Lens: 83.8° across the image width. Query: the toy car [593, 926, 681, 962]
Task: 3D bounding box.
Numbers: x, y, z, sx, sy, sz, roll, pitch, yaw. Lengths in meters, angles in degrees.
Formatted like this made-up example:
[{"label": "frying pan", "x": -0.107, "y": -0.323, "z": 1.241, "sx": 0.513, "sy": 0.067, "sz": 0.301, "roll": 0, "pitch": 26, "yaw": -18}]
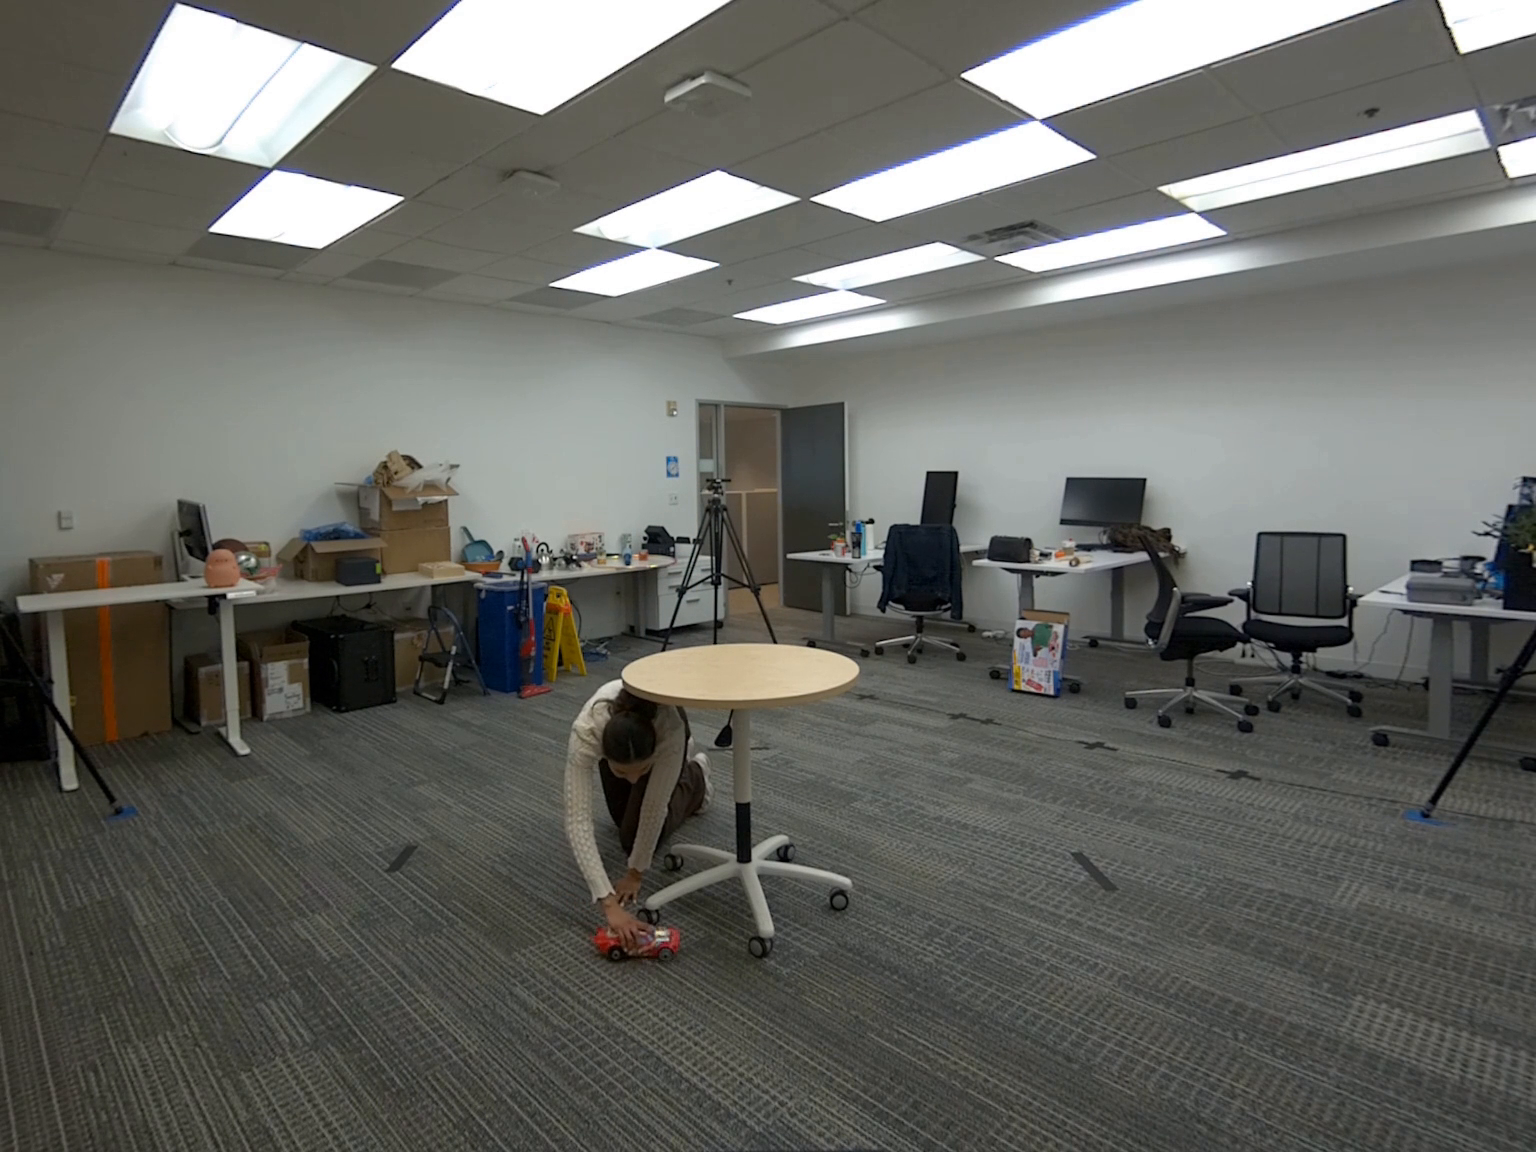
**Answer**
[{"label": "toy car", "x": -0.399, "y": 1.089, "z": 2.544, "sx": 0.255, "sy": 0.083, "sz": 0.130, "roll": 8, "pitch": 7, "yaw": 2}]
